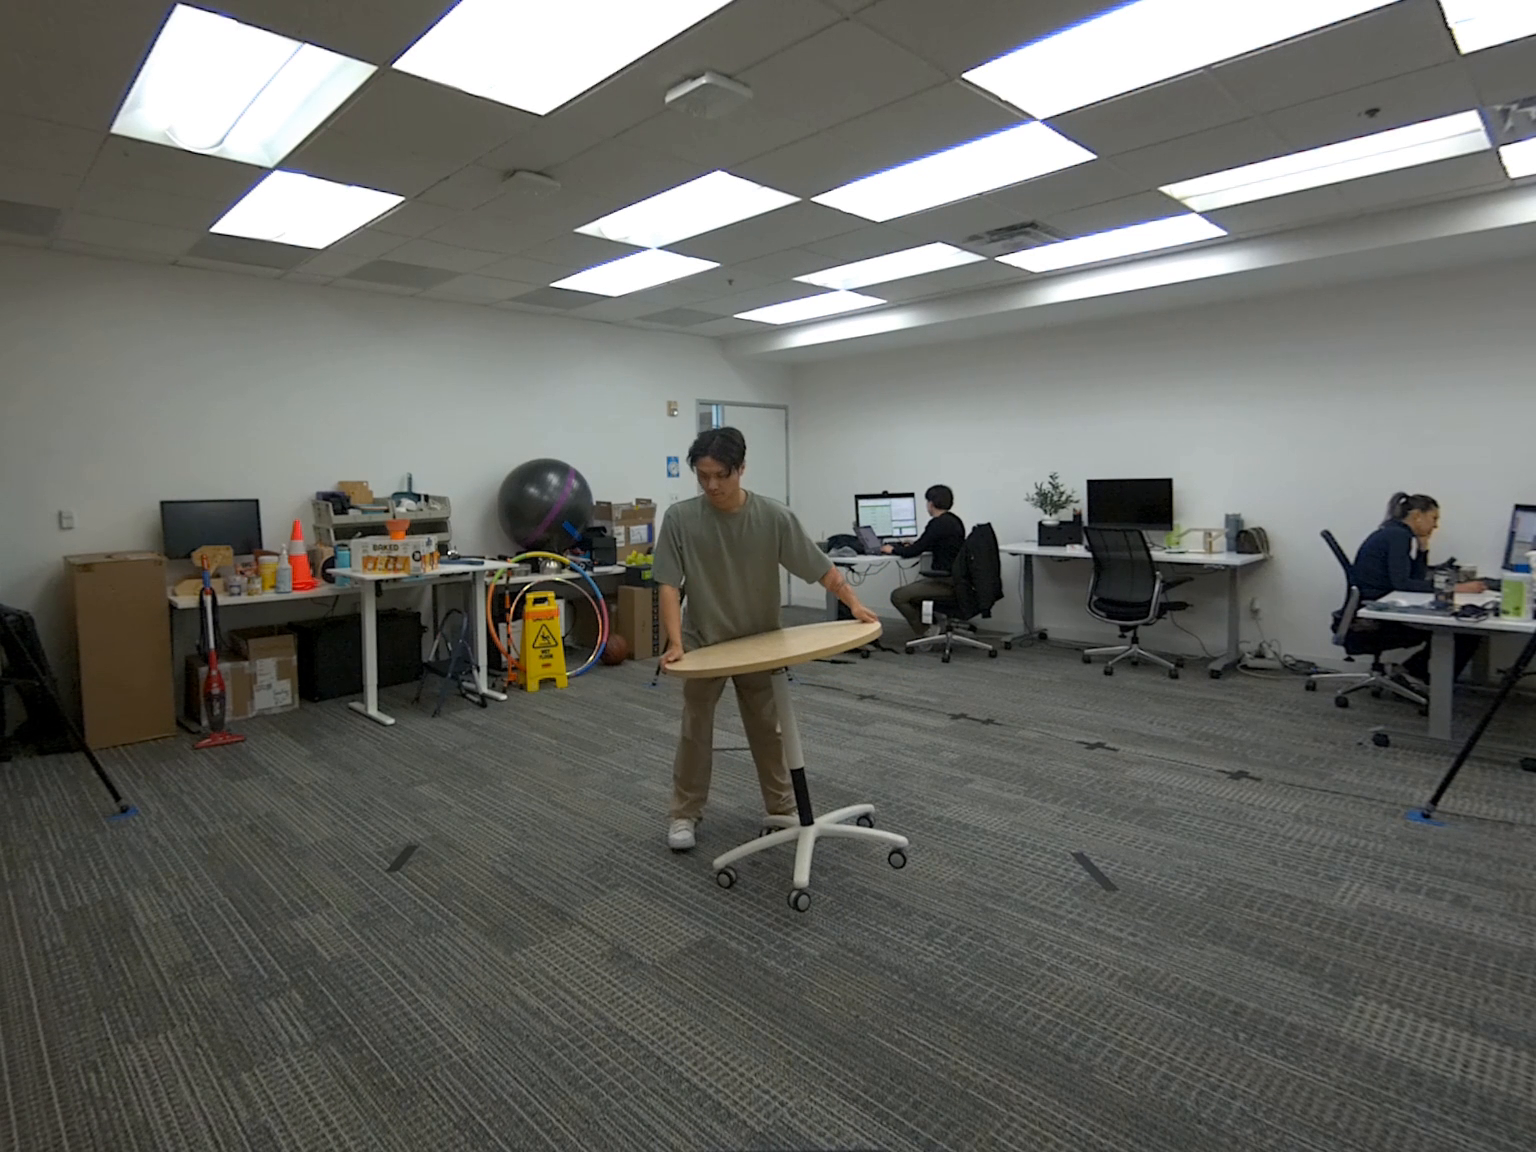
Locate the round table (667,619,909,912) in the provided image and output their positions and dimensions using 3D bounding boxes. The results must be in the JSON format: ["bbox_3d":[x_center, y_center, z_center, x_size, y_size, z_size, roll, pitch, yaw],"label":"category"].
[{"bbox_3d":[0.105,0.624,2.972,0.784,0.786,0.786,-11,2,-1],"label":"round table"}]
